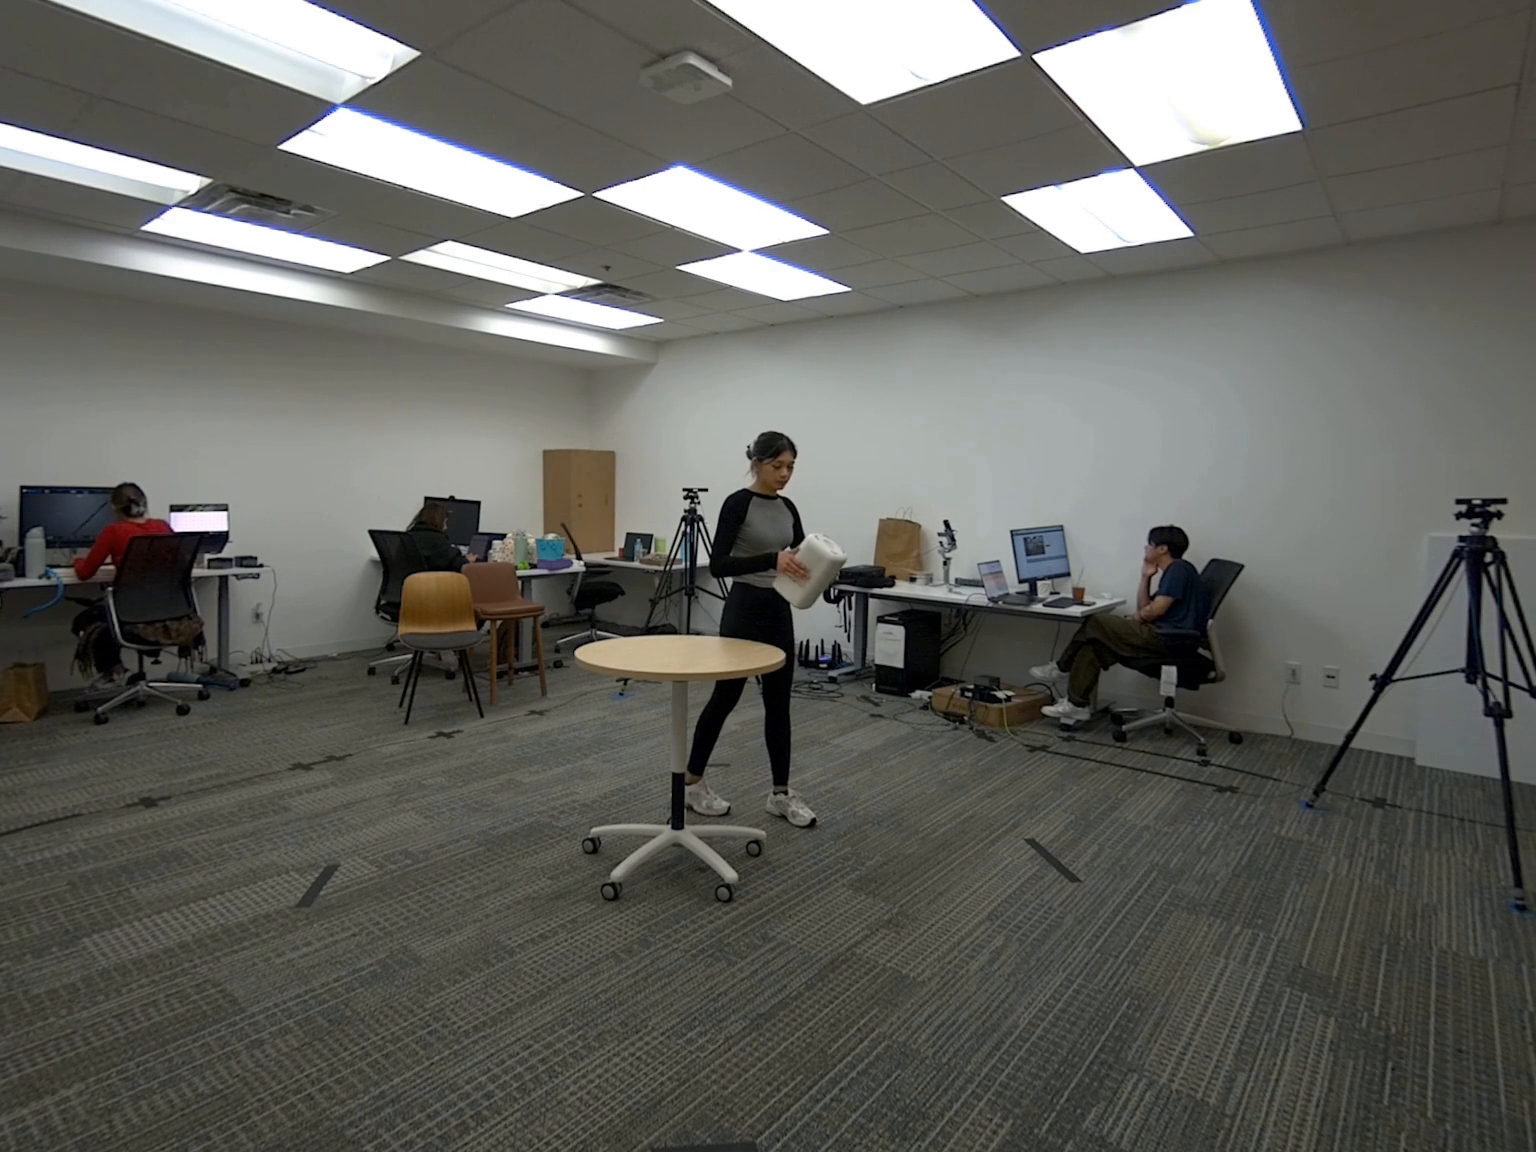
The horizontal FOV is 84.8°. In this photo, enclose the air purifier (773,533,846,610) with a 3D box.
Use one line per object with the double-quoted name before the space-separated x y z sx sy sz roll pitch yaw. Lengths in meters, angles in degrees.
"air purifier" 0.163 -0.027 3.386 0.177 0.264 0.167 43 21 20
